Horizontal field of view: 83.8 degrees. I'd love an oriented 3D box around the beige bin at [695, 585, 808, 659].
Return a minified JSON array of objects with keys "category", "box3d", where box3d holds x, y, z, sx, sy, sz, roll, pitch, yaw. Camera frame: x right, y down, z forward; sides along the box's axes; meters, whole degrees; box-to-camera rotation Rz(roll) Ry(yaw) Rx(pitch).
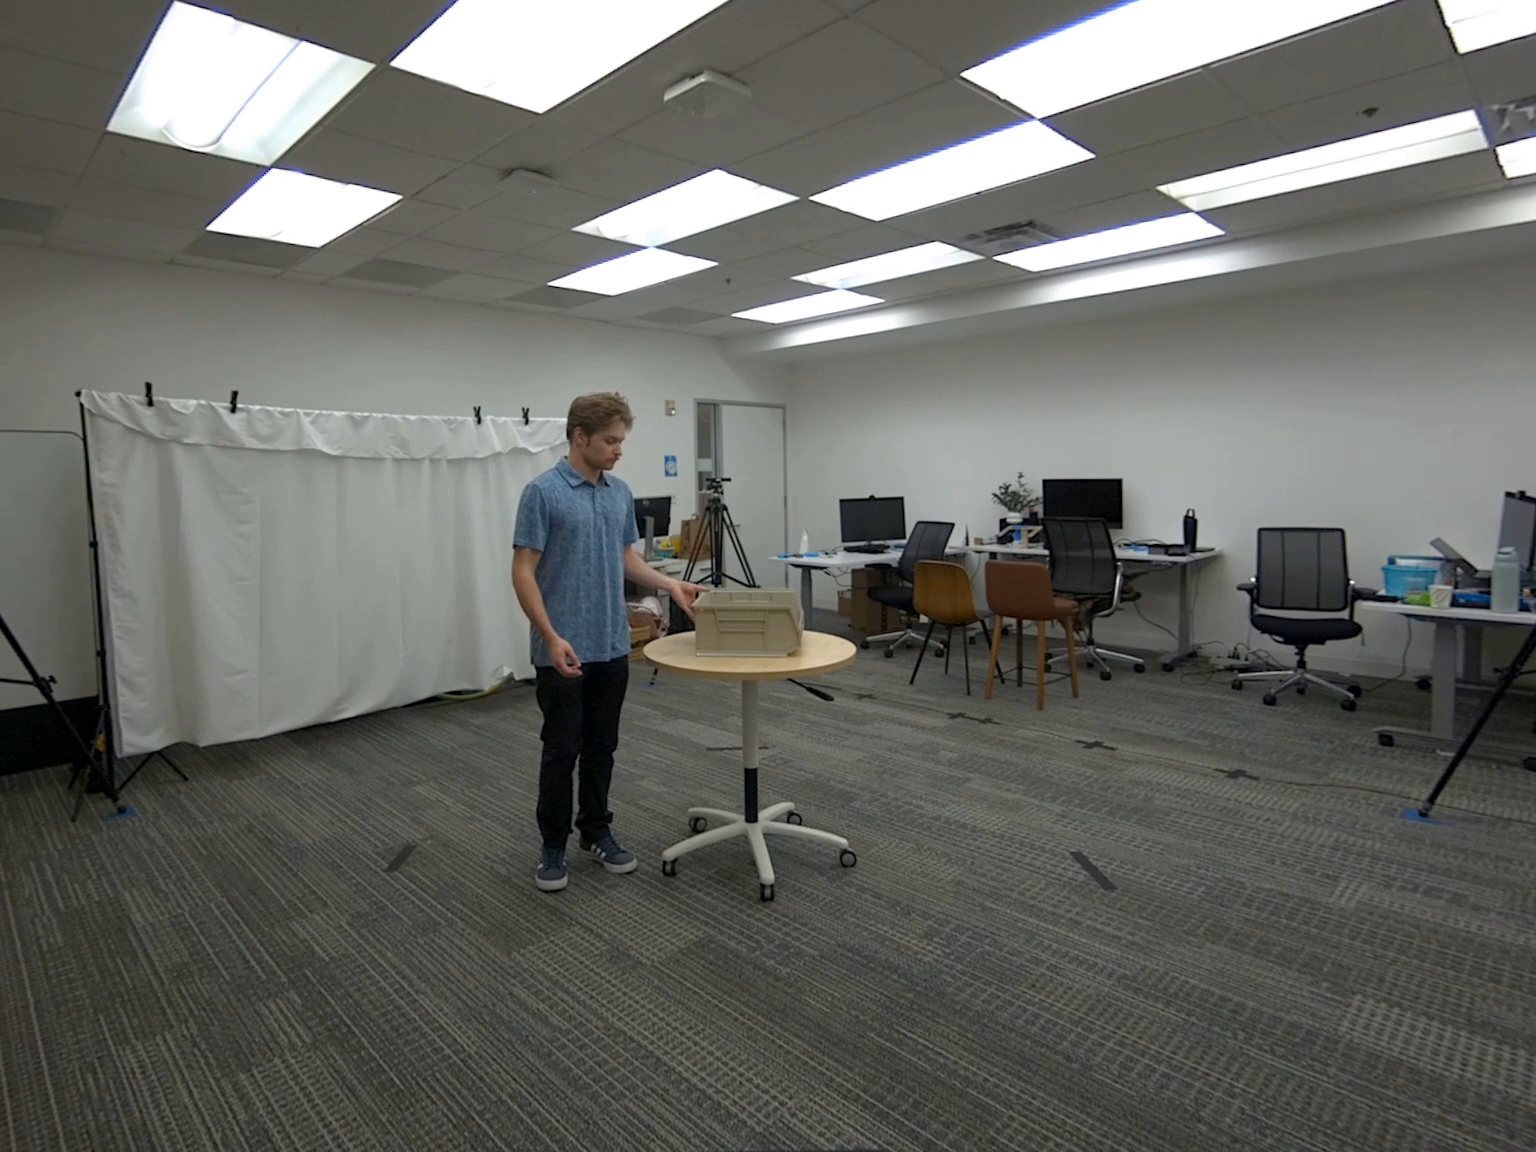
[{"category":"beige bin","box3d":[-0.051,0.160,3.130,0.379,0.188,0.422,-2,6,4]}]
